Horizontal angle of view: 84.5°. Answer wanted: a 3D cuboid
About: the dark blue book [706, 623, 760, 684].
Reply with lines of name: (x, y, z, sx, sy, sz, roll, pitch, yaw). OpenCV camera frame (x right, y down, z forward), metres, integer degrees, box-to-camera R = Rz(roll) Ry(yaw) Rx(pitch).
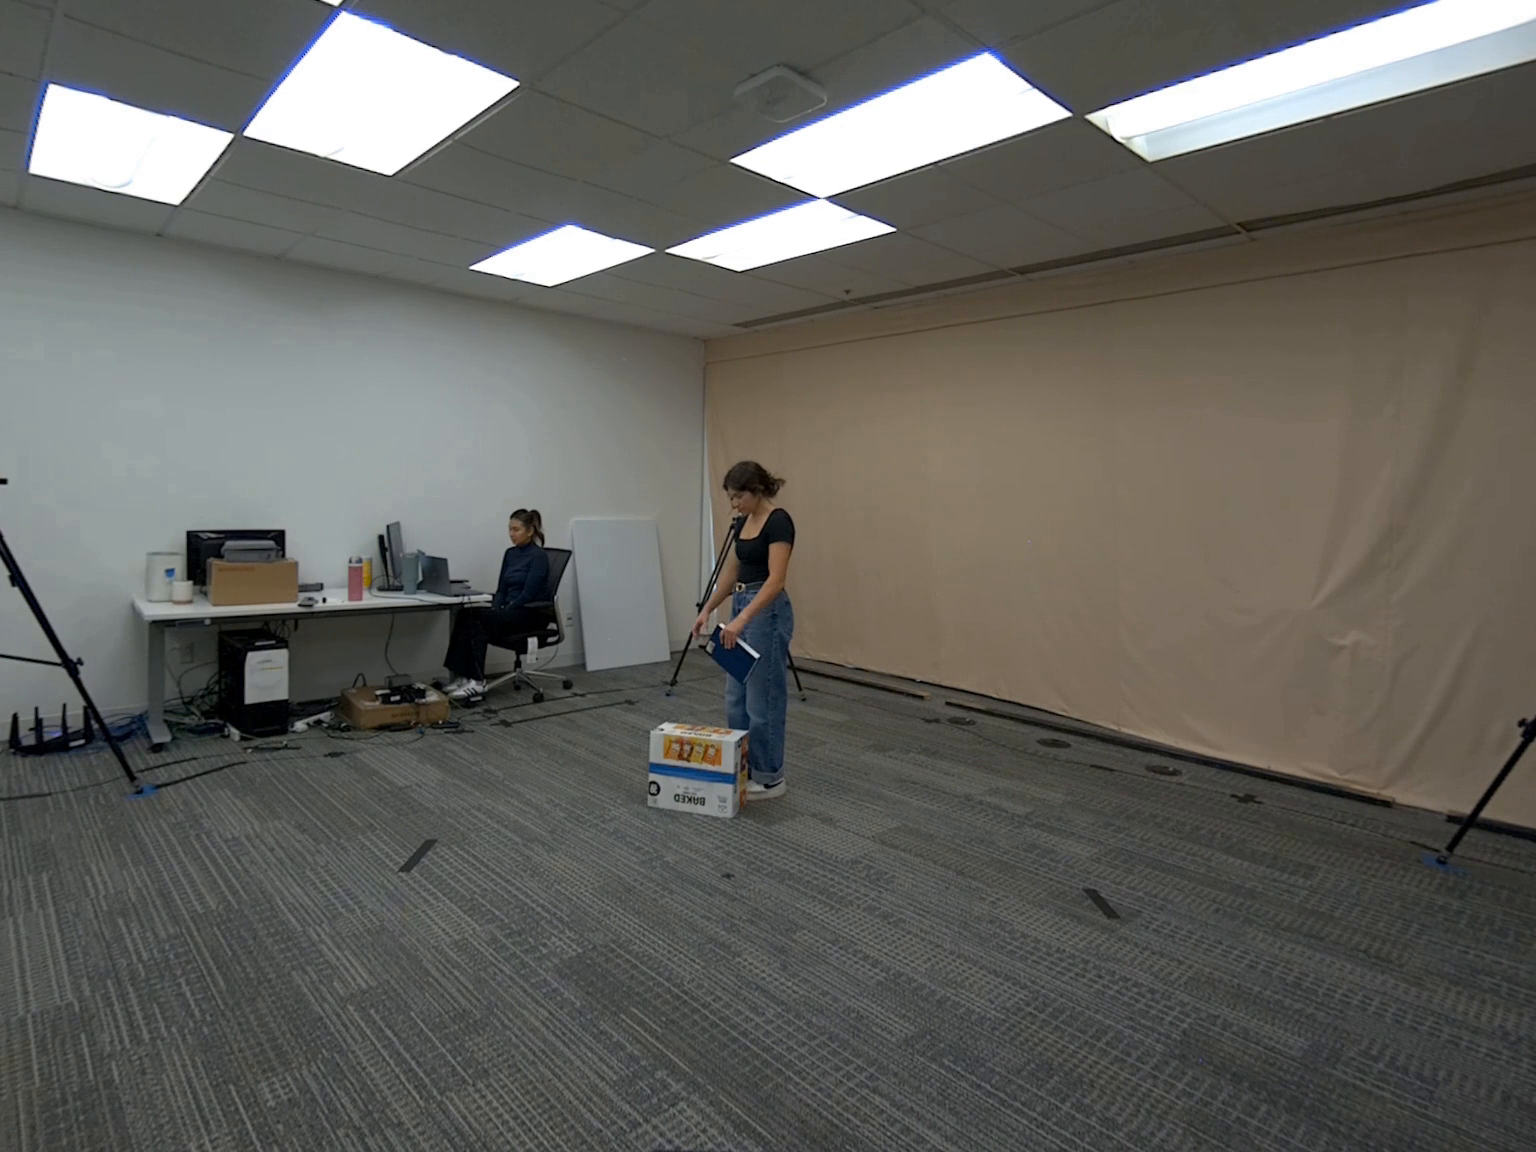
dark blue book: (-0.169, 0.345, 3.767, 0.250, 0.162, 0.044, 39, 28, 21)
